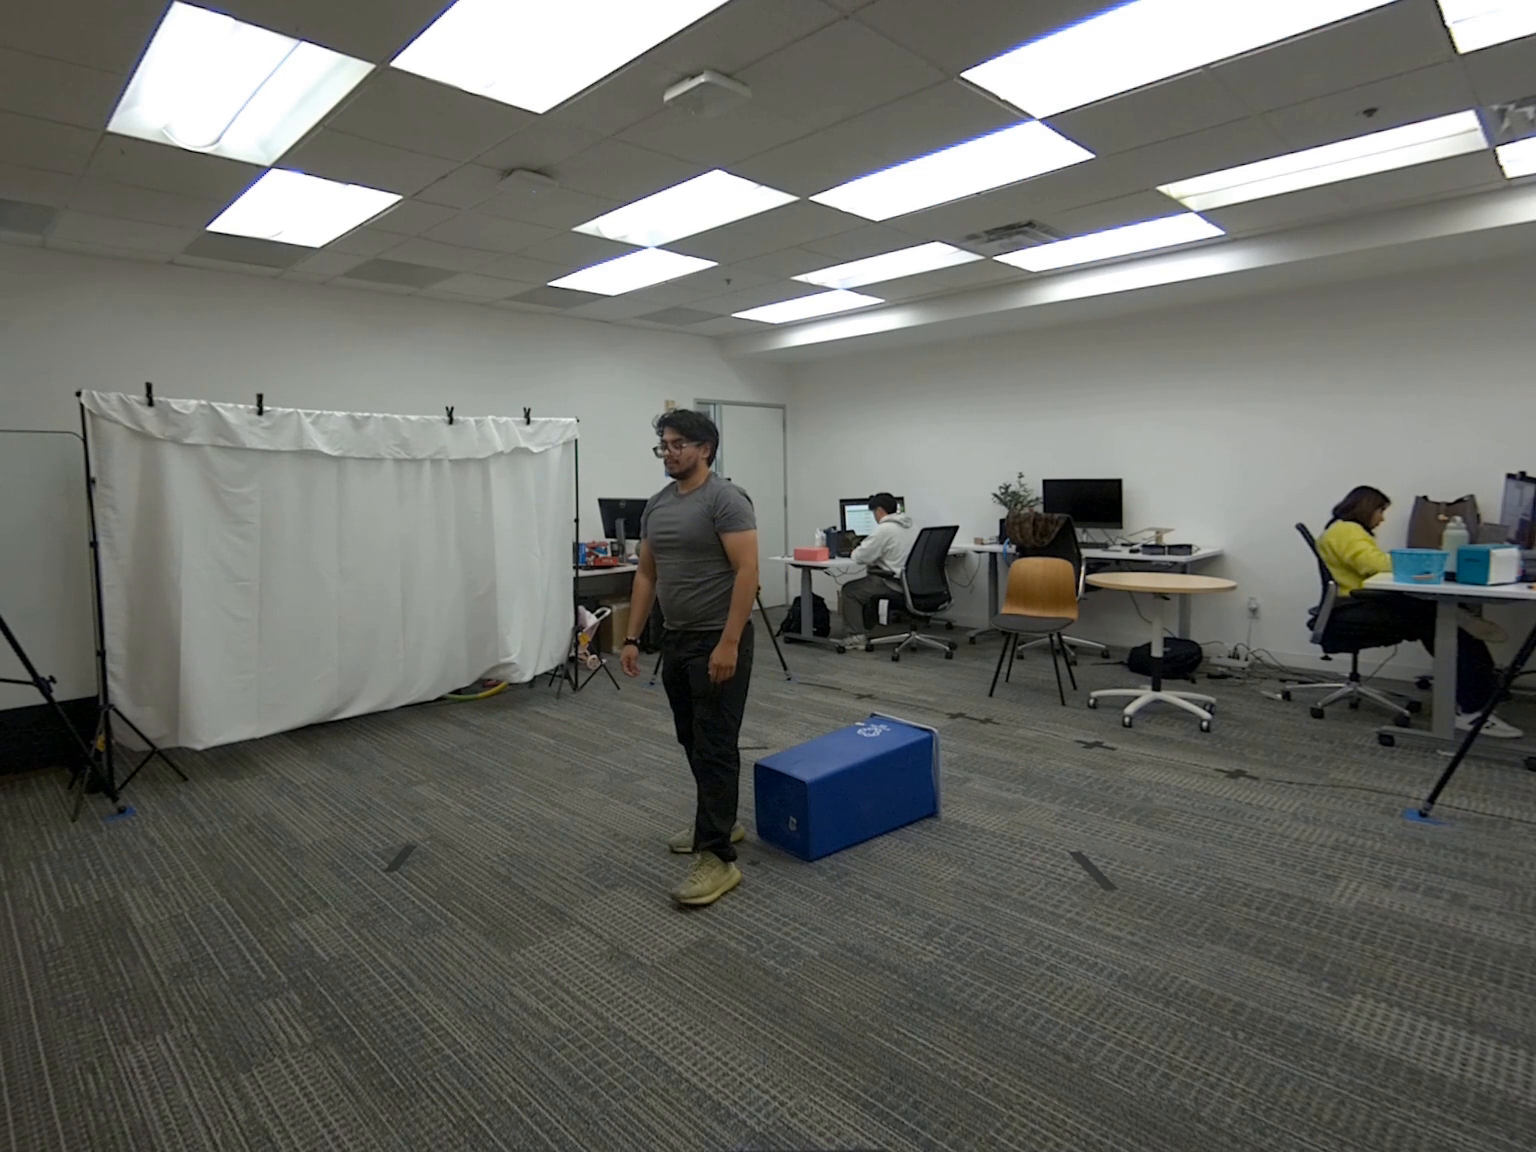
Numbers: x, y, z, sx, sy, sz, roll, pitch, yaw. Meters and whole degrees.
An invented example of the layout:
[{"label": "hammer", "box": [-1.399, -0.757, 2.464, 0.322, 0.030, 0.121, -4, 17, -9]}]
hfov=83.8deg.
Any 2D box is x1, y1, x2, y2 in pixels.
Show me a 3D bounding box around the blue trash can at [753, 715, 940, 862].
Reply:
[{"label": "blue trash can", "box": [0.321, 0.827, 3.407, 0.696, 0.372, 0.390, -8, 8, -39]}]
